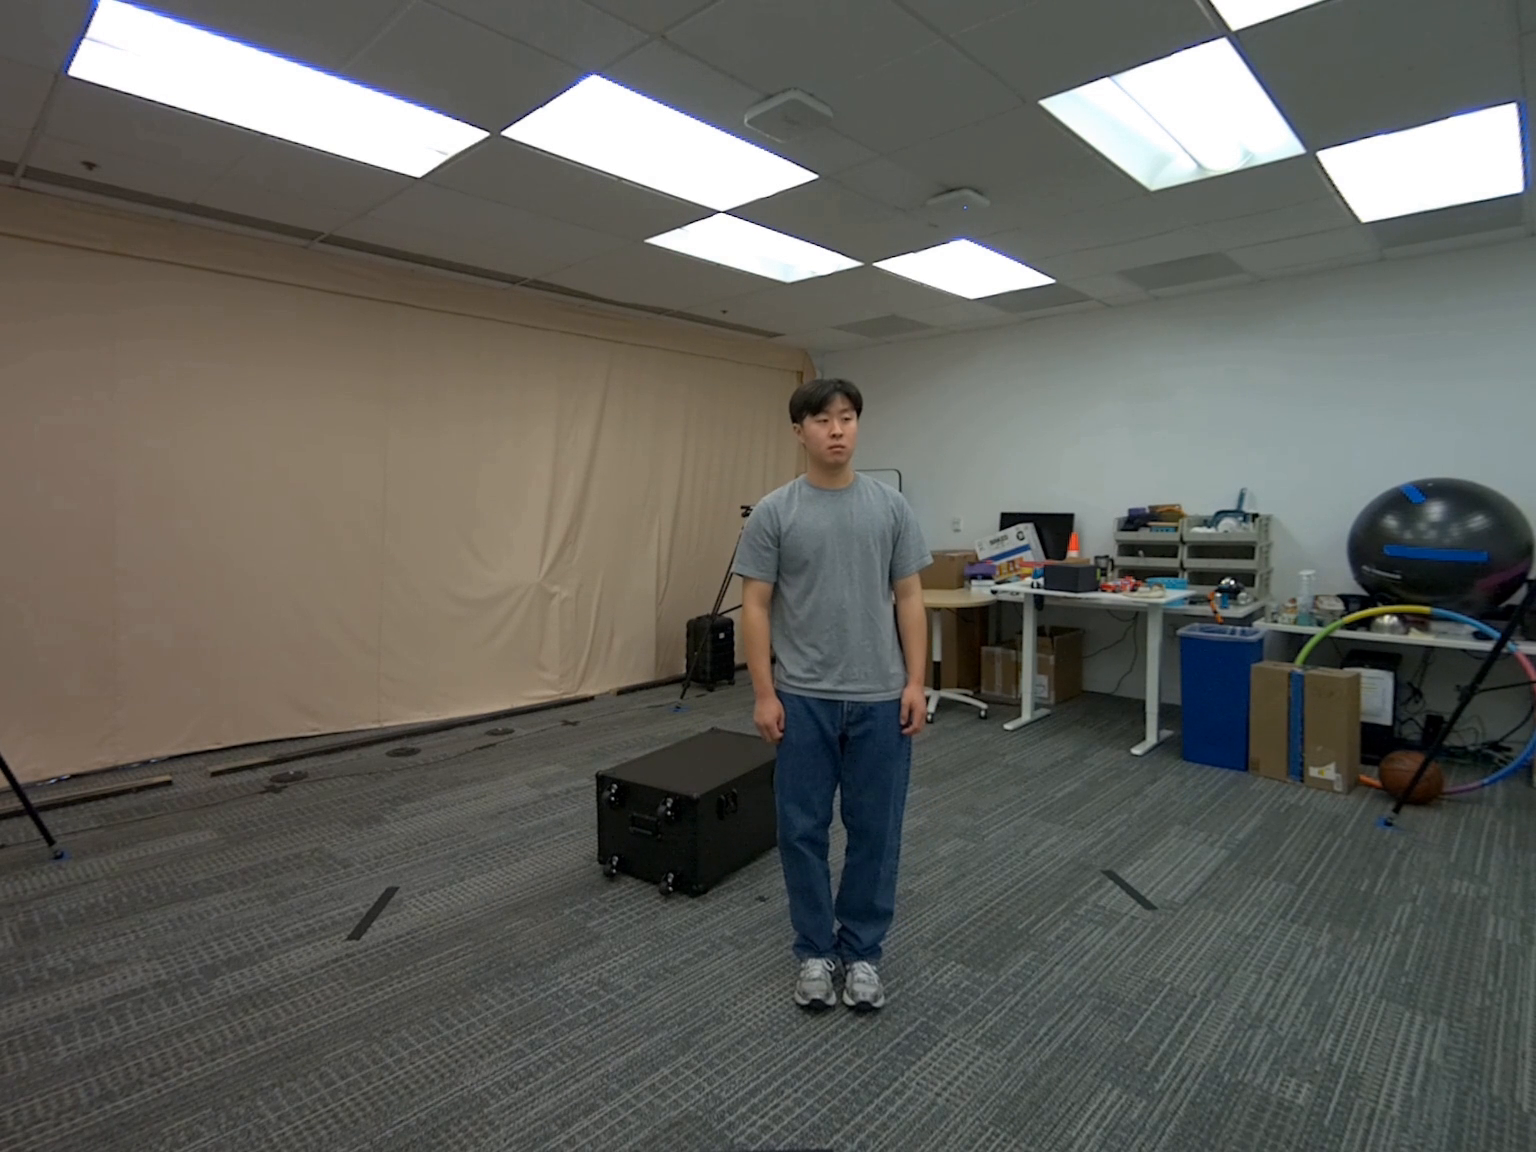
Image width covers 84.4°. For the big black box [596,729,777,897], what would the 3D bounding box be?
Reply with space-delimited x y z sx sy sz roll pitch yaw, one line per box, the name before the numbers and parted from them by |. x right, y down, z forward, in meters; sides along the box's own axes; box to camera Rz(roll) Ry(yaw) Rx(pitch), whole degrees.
big black box | -0.269 0.922 3.383 0.537 0.395 0.837 3 5 33
